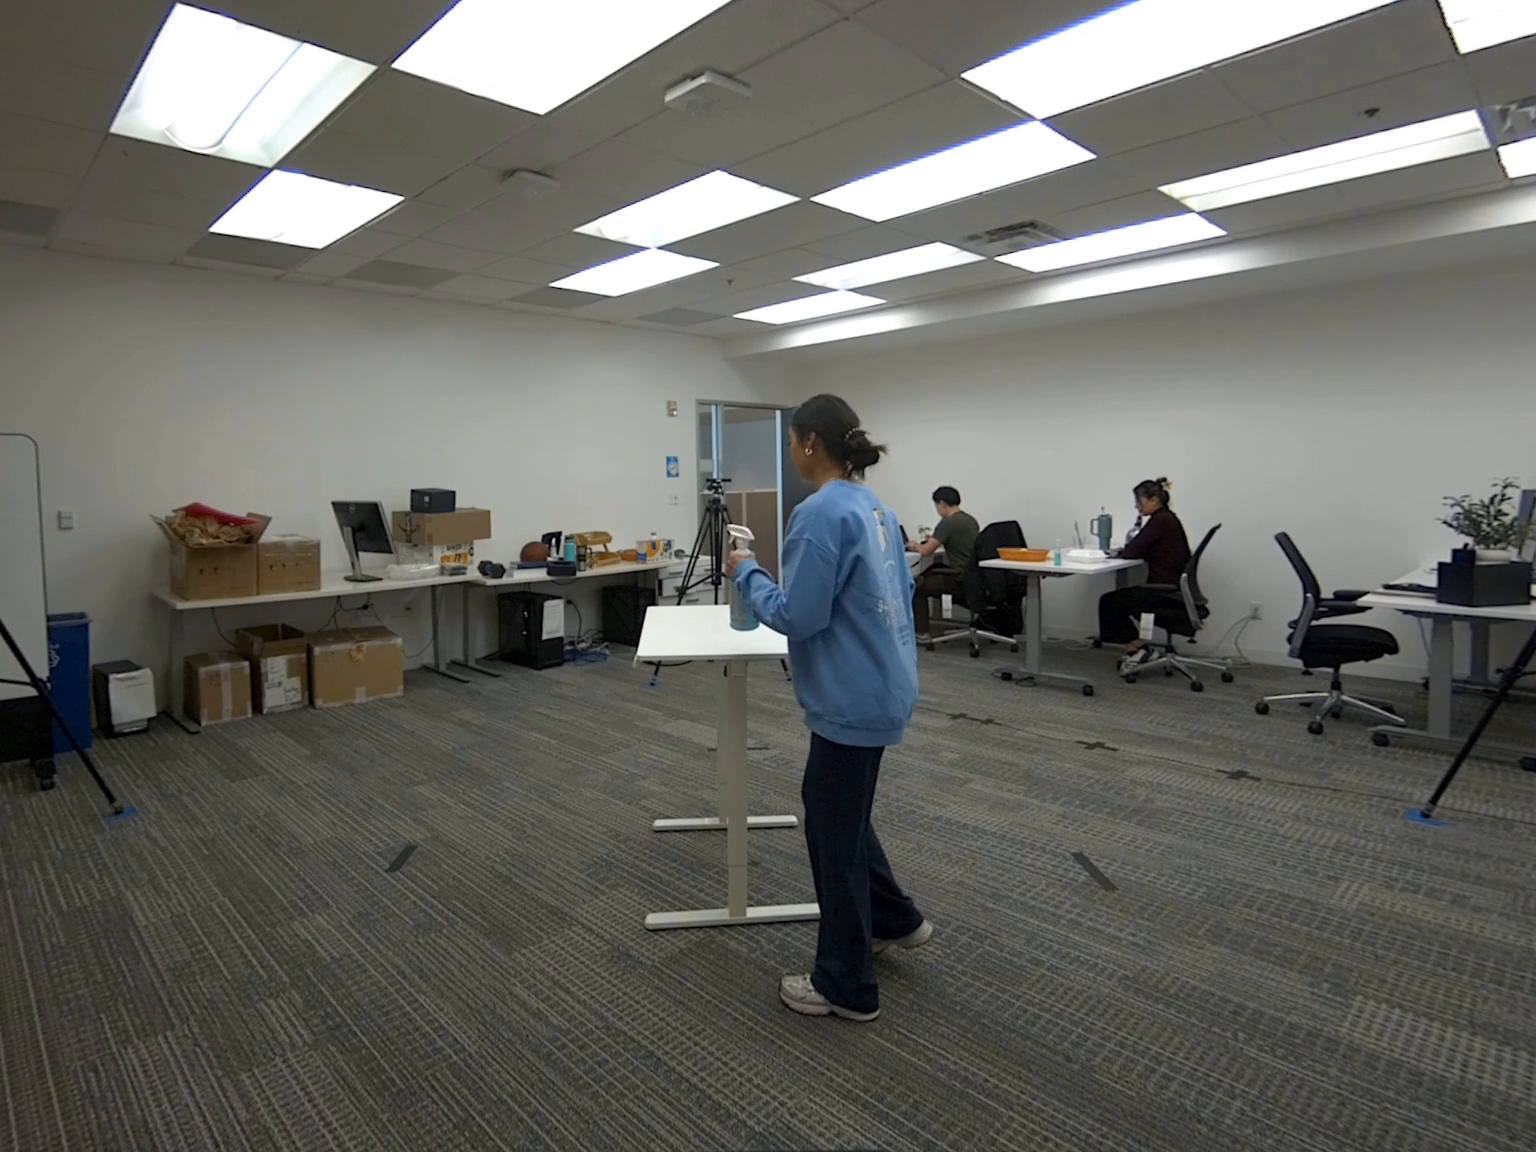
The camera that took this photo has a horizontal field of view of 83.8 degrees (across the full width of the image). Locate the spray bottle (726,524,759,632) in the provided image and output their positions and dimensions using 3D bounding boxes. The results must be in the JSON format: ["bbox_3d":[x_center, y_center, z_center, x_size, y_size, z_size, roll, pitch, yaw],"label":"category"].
[{"bbox_3d":[-0.058,0.004,2.419,0.085,0.294,0.093,-8,14,-24],"label":"spray bottle"}]
